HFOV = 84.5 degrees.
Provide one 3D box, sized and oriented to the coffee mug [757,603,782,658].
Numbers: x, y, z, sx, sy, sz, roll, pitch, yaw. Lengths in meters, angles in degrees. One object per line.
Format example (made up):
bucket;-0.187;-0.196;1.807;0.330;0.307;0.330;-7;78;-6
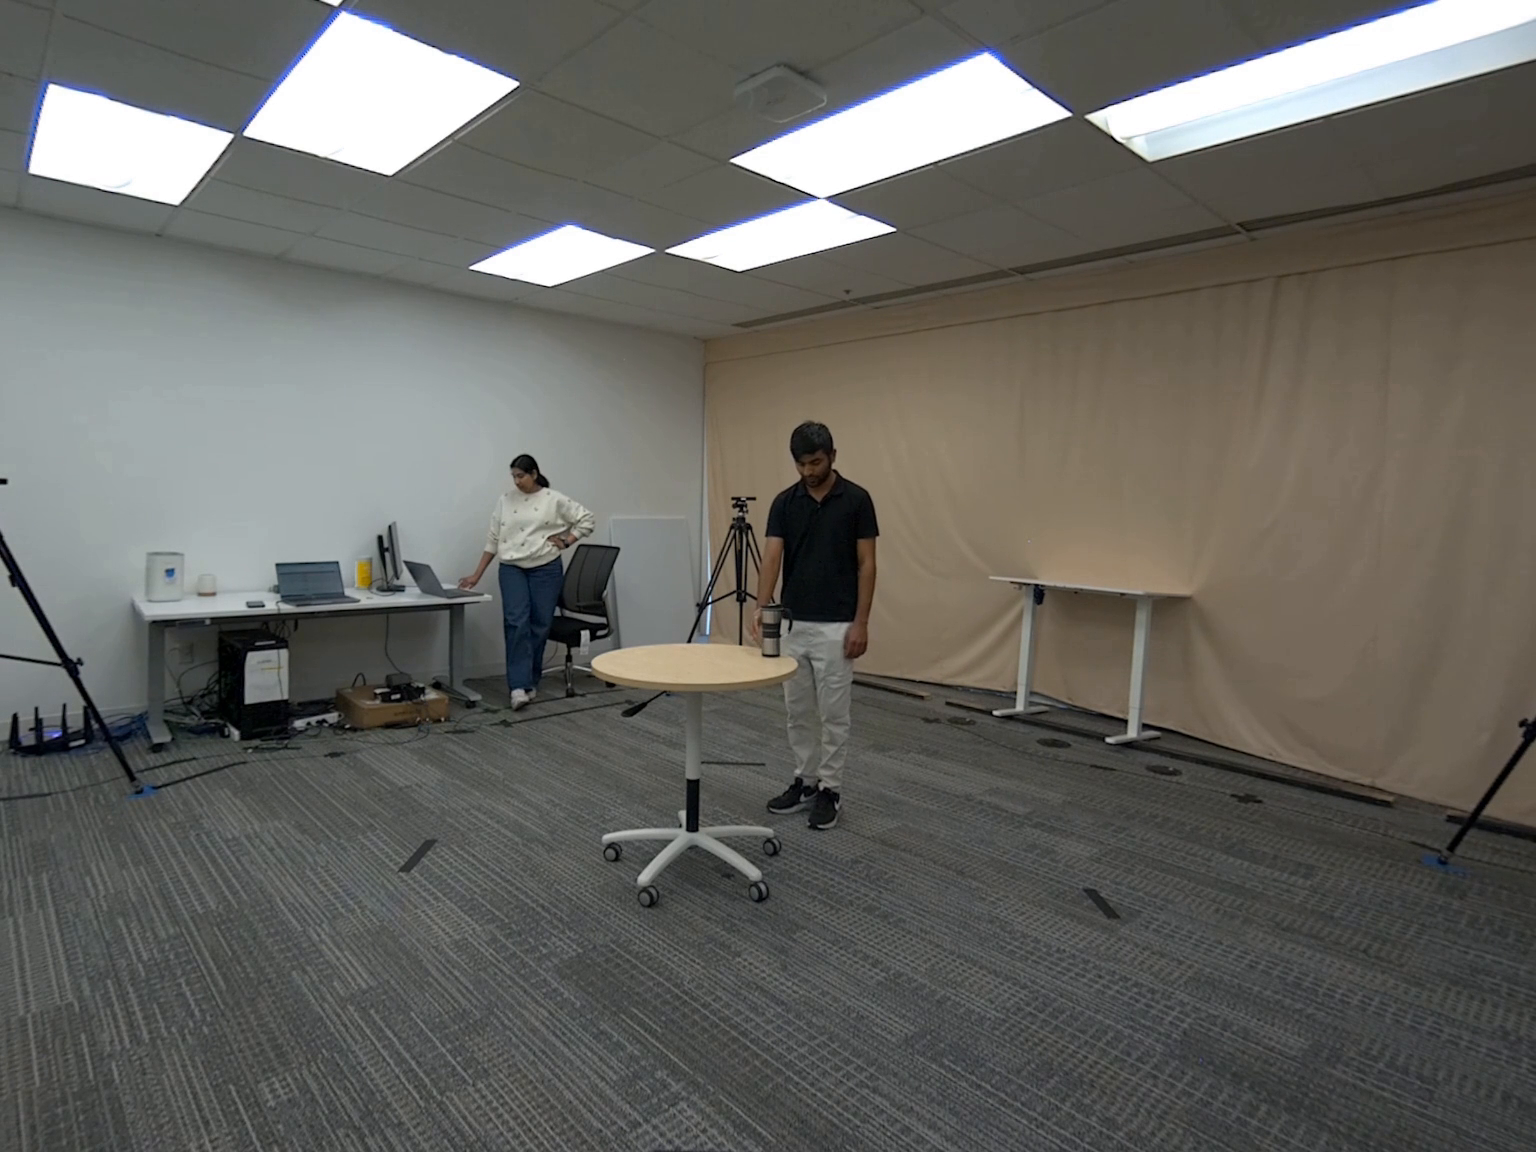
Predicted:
coffee mug;0.025;0.212;3.250;0.124;0.203;0.086;-2;-1;26
